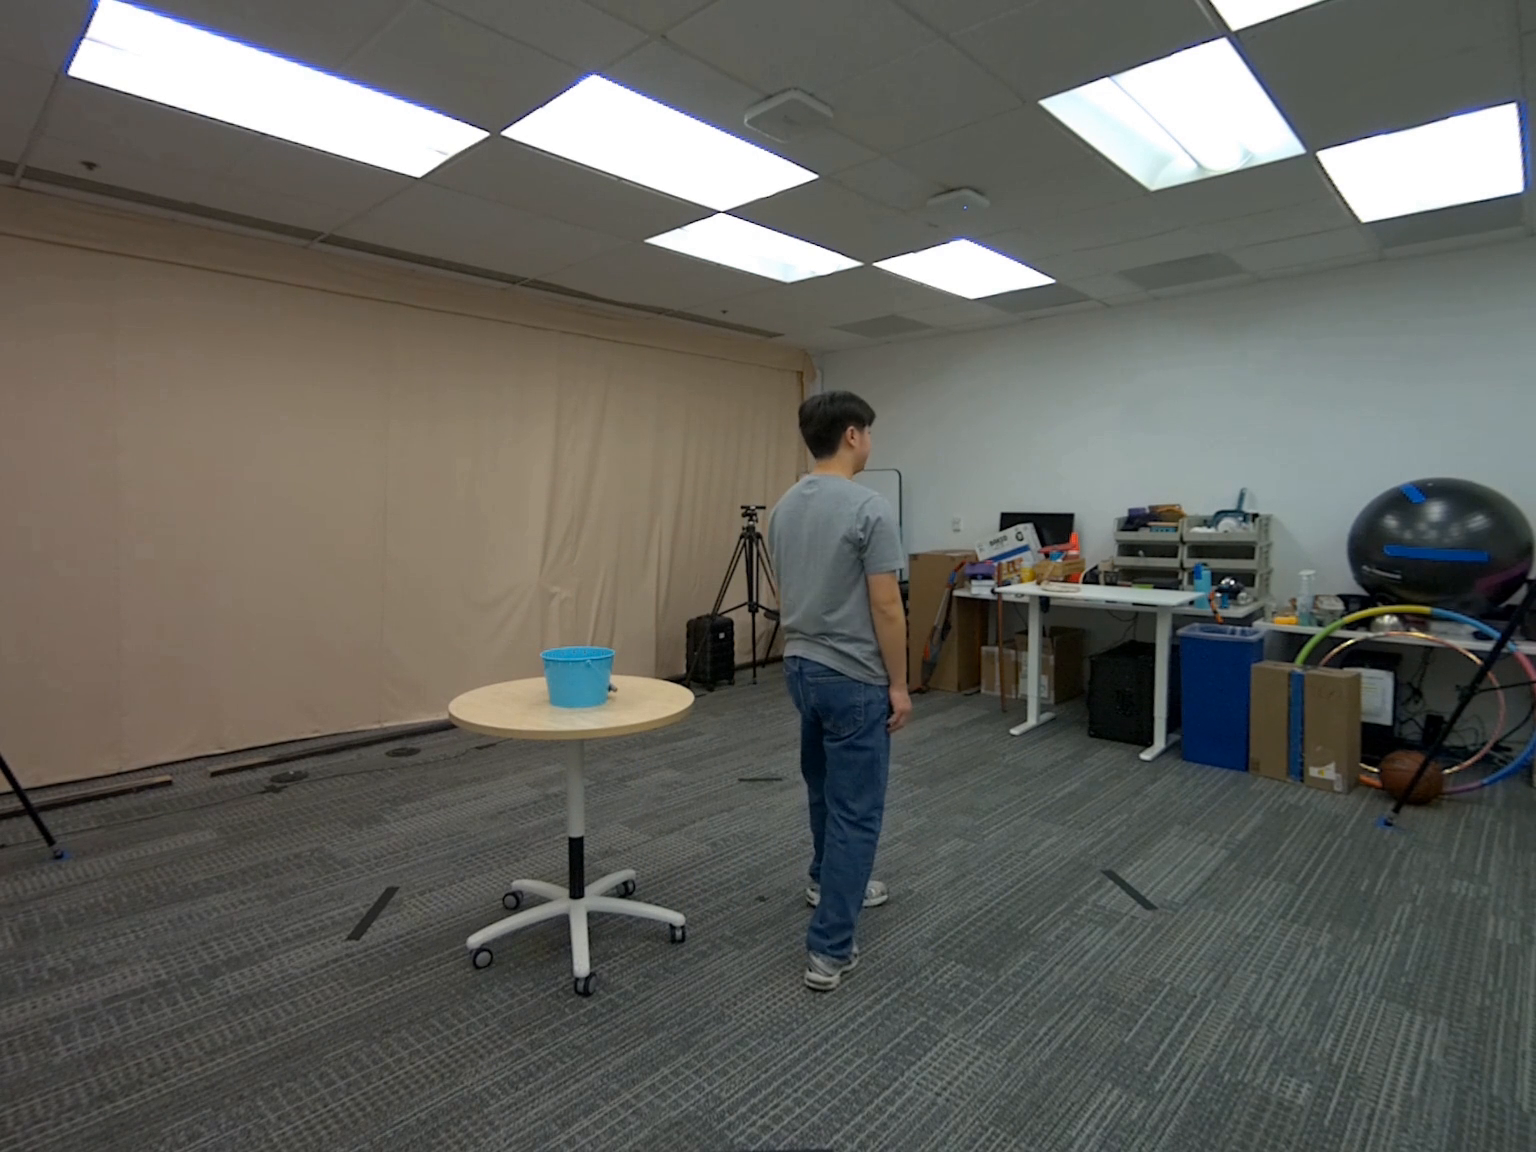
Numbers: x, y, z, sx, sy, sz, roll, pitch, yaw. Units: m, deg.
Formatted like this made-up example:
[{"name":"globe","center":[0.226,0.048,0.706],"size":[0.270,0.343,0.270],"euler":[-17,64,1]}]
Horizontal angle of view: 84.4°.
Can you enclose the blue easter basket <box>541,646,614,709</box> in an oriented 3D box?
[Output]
[{"name":"blue easter basket","center":[-0.588,0.323,2.634],"size":[0.243,0.155,0.244],"euler":[-1,4,-2]}]
